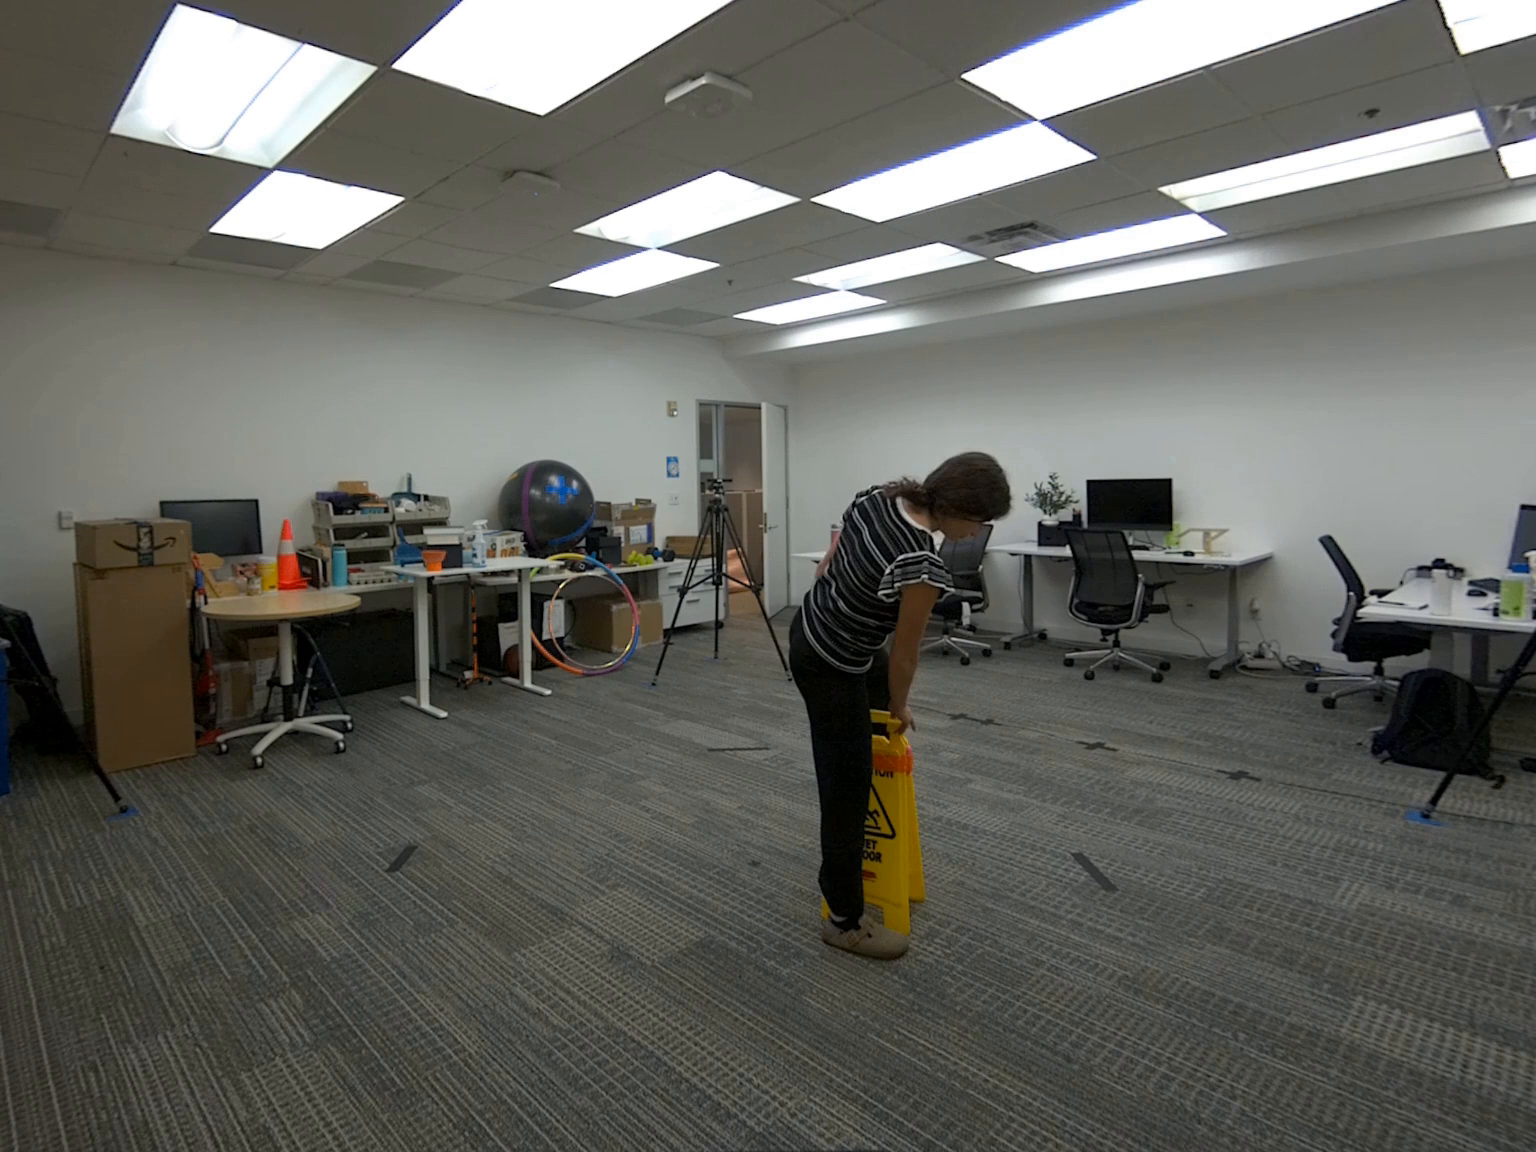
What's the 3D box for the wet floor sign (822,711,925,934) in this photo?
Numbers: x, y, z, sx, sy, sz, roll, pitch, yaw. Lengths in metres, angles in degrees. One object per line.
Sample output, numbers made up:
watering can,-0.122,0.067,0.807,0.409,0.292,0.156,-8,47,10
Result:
wet floor sign,0.341,0.757,2.731,0.288,0.643,0.285,0,5,23
